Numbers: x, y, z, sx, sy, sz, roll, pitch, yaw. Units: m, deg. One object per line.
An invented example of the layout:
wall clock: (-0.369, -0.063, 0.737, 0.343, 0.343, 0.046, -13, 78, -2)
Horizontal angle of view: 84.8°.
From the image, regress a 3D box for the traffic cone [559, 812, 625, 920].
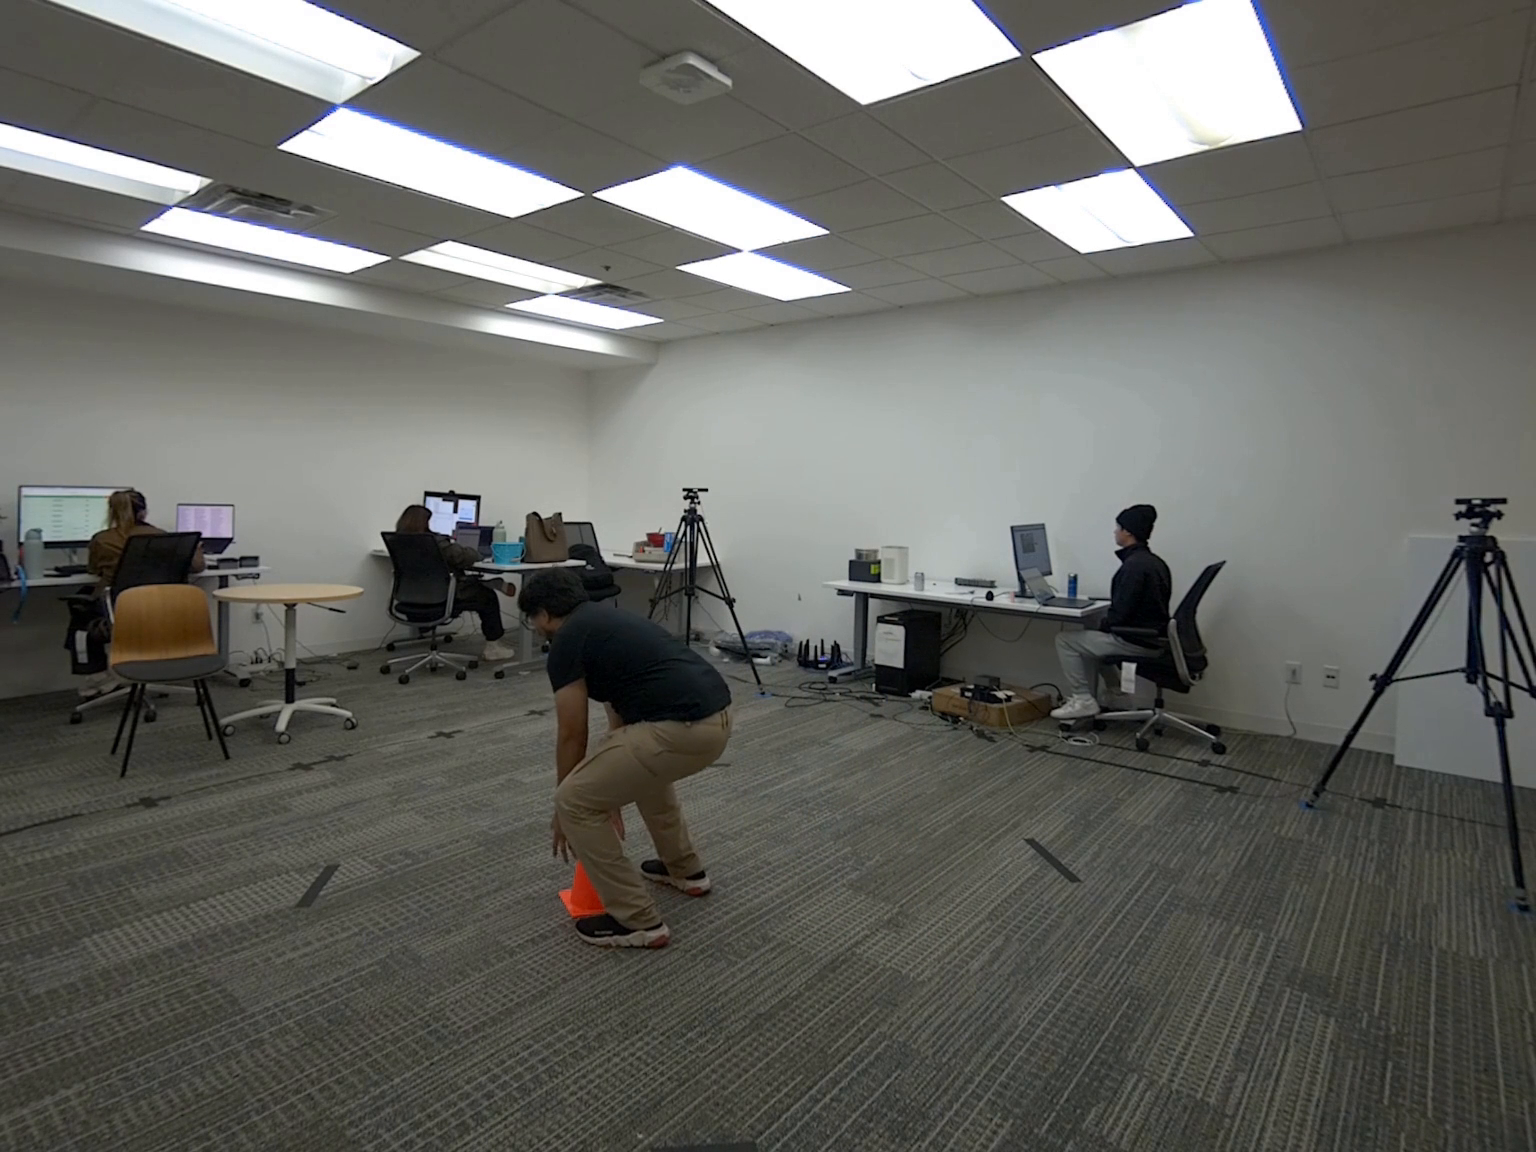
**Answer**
traffic cone: (-0.587, 0.896, 2.864, 0.197, 0.382, 0.212, -3, 4, -39)
